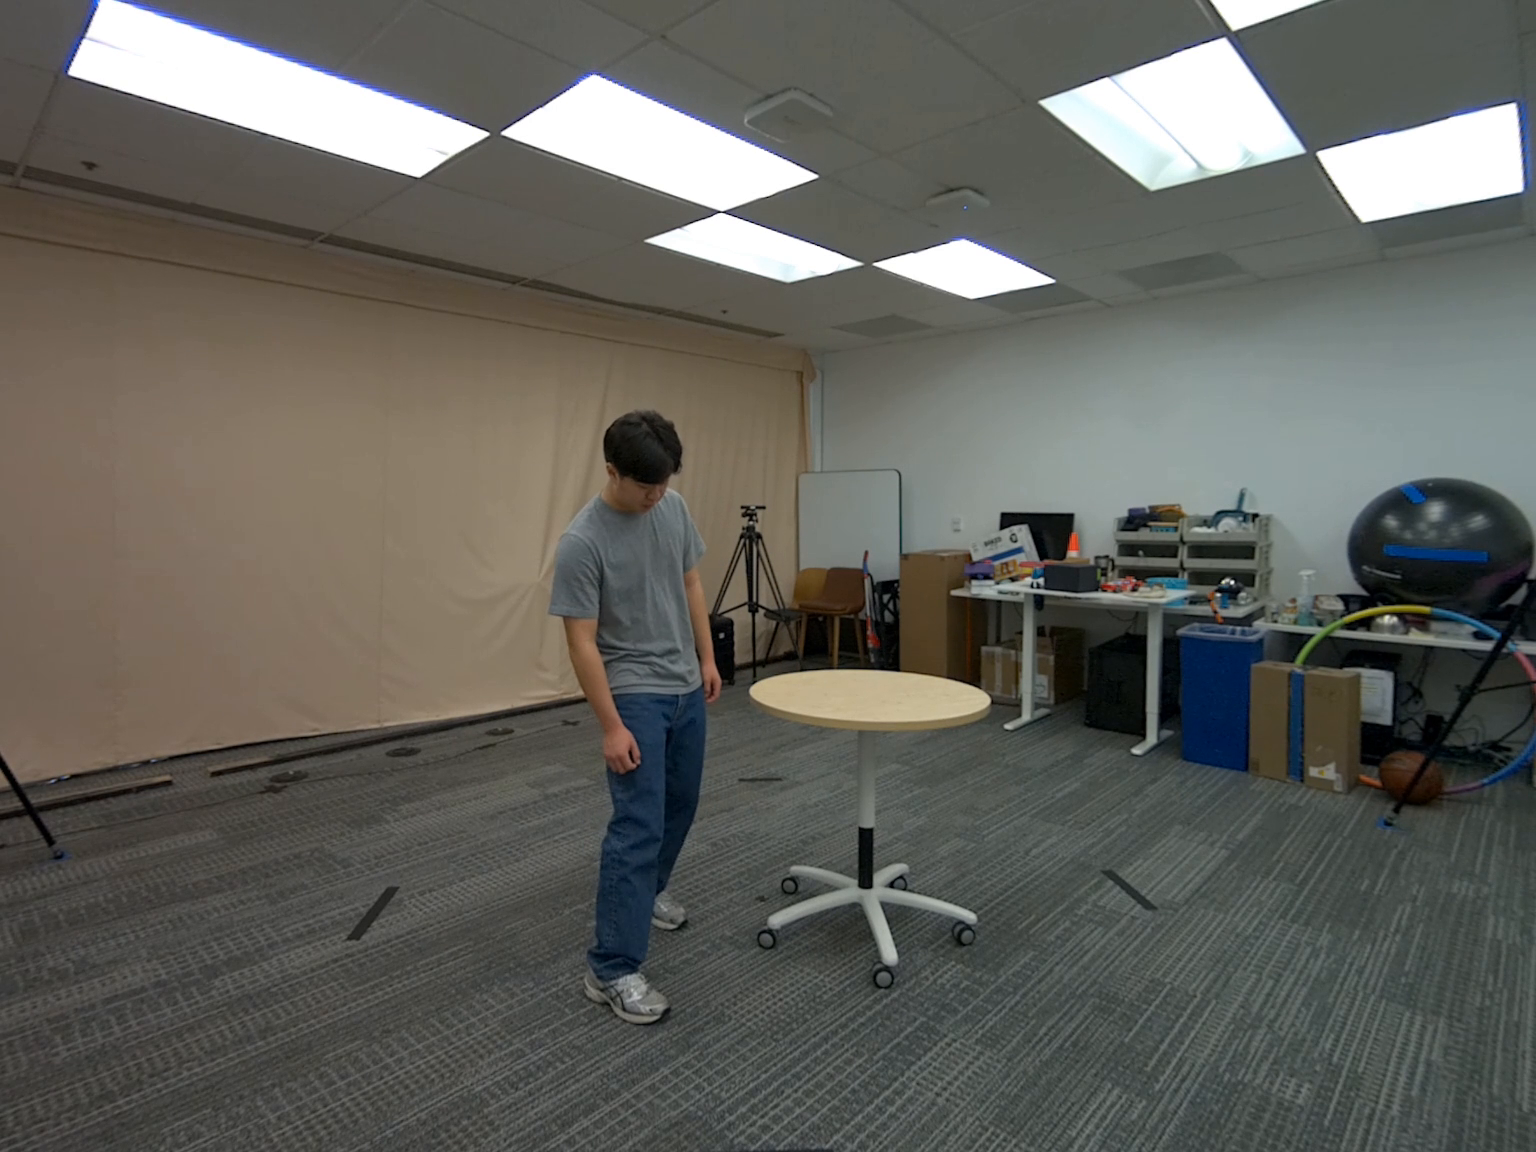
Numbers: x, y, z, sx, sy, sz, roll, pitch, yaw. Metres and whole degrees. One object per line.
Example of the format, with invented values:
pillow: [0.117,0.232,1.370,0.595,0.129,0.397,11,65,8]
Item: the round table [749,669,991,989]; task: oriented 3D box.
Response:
round table: [0.326,0.774,2.756,0.763,0.792,0.767,0,4,-2]
